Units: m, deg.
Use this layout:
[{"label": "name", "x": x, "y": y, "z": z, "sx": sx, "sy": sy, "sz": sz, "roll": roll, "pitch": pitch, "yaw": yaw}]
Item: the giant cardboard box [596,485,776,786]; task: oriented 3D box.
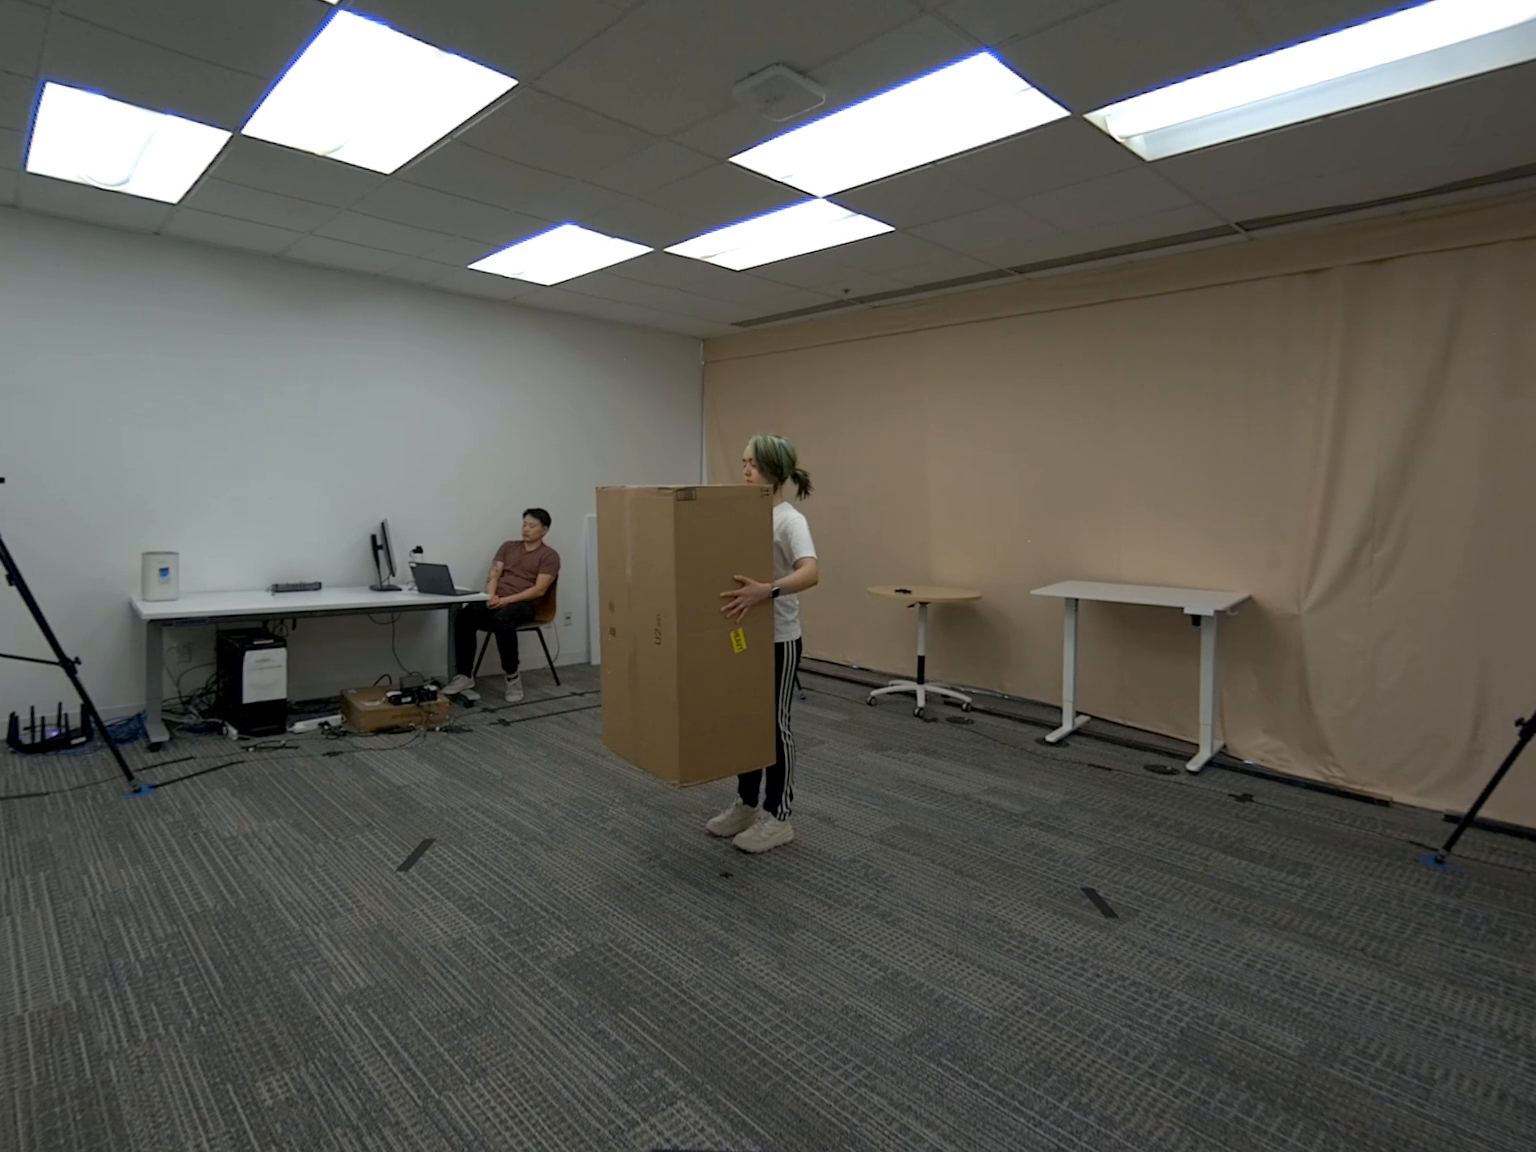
[{"label": "giant cardboard box", "x": -0.318, "y": 0.177, "z": 3.152, "sx": 0.417, "sy": 1.022, "sz": 0.592, "roll": -4, "pitch": 6, "yaw": -37}]
